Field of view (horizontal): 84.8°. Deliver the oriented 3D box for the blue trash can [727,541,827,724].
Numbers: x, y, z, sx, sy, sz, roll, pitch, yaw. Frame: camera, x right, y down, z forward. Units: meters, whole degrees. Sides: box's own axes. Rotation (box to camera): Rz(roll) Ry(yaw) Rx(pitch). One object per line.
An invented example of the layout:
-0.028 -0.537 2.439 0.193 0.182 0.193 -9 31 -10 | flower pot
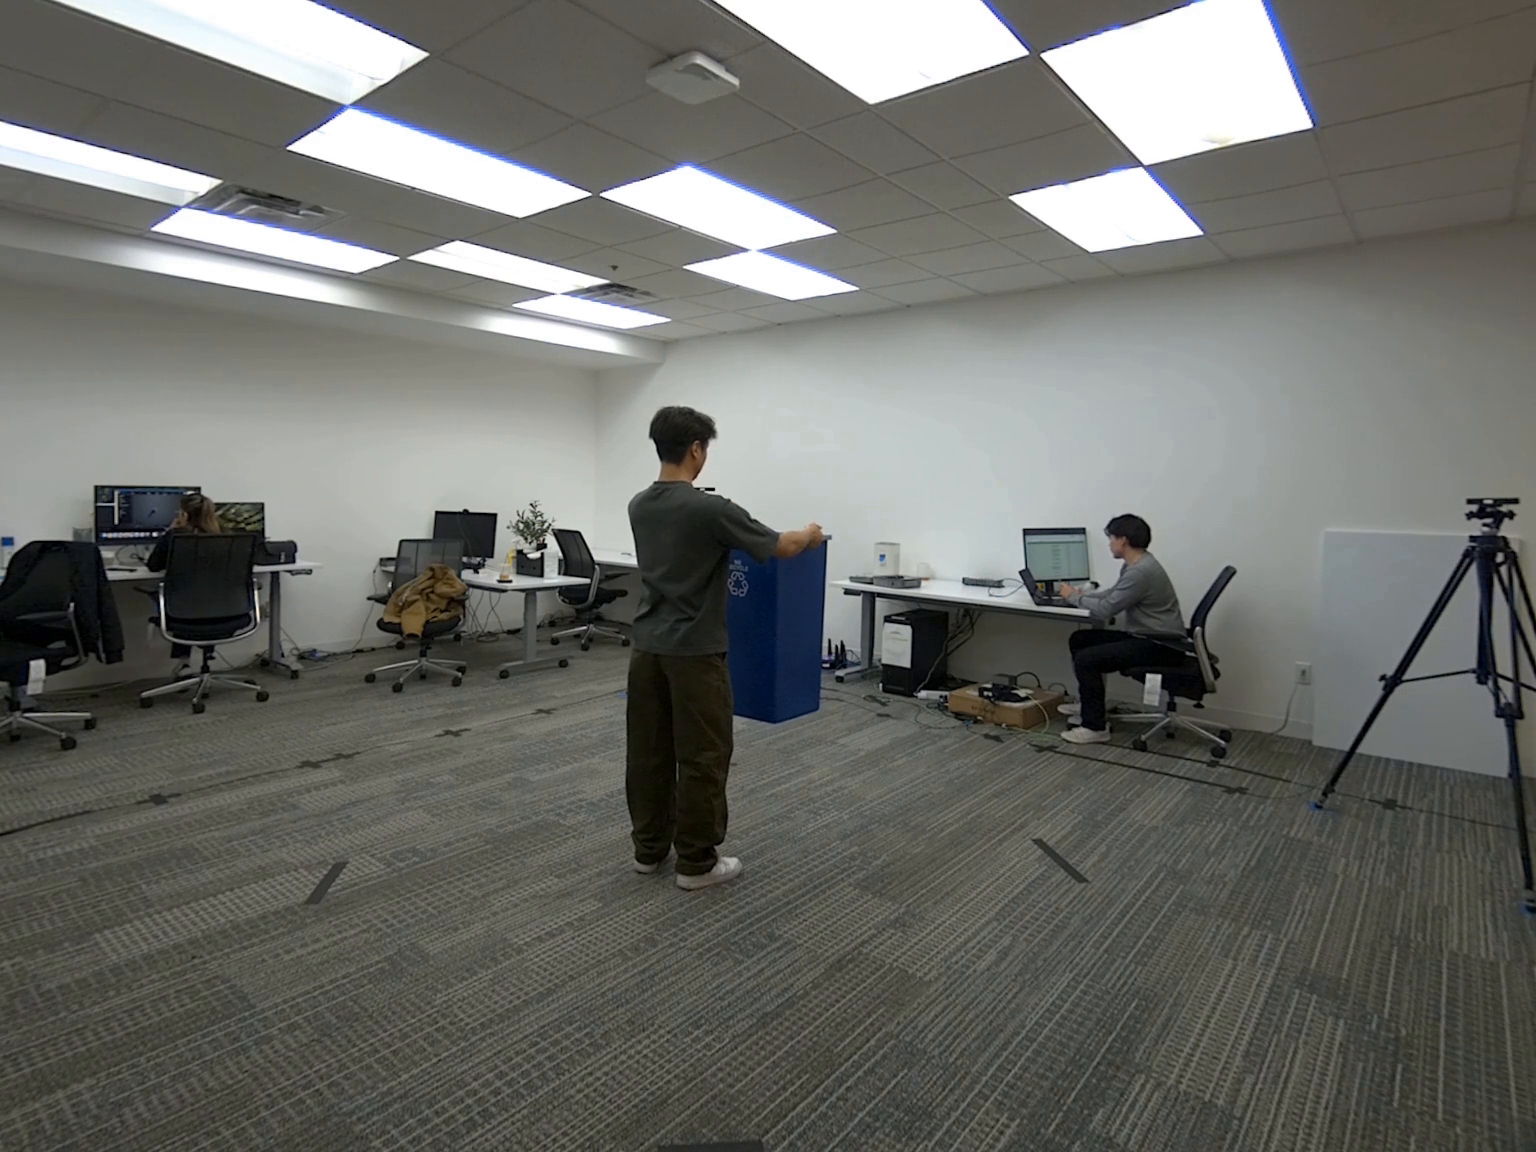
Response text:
-0.004 0.184 3.407 0.390 0.711 0.363 3 5 39 | blue trash can
